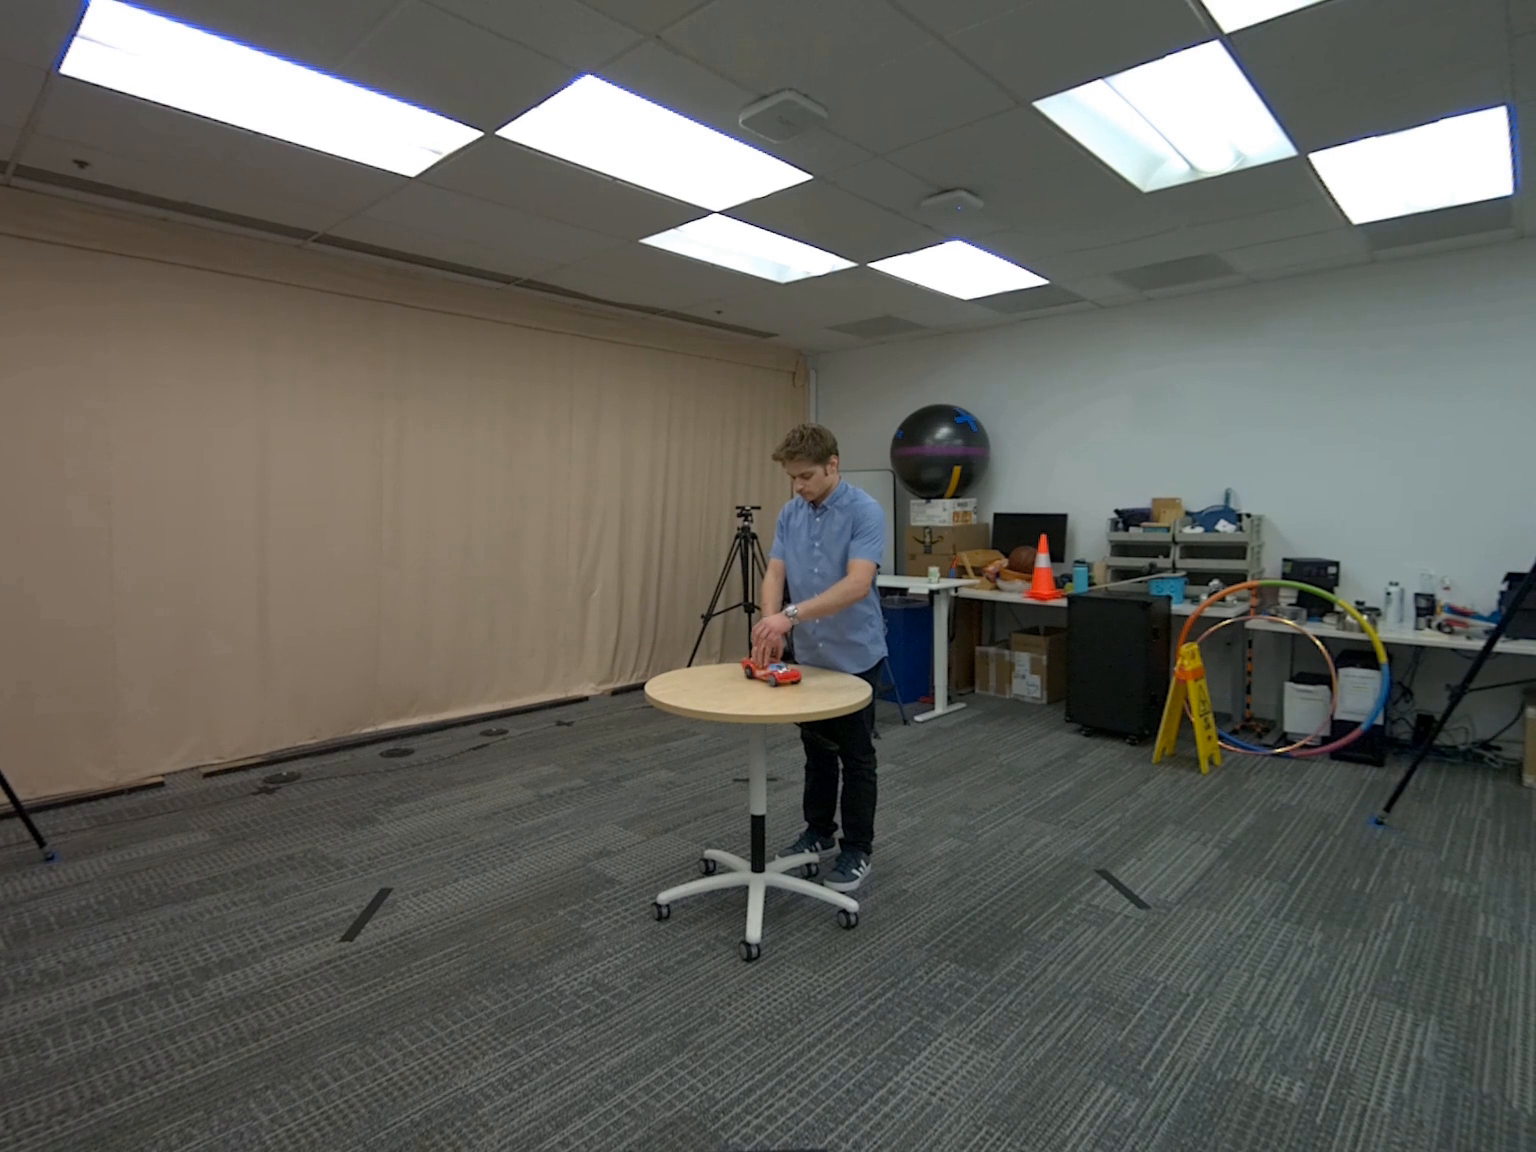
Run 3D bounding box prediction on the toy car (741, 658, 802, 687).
[{"bbox_3d":[0.005,0.332,2.938,0.127,0.082,0.263,-3,16,-32],"label":"toy car"}]
